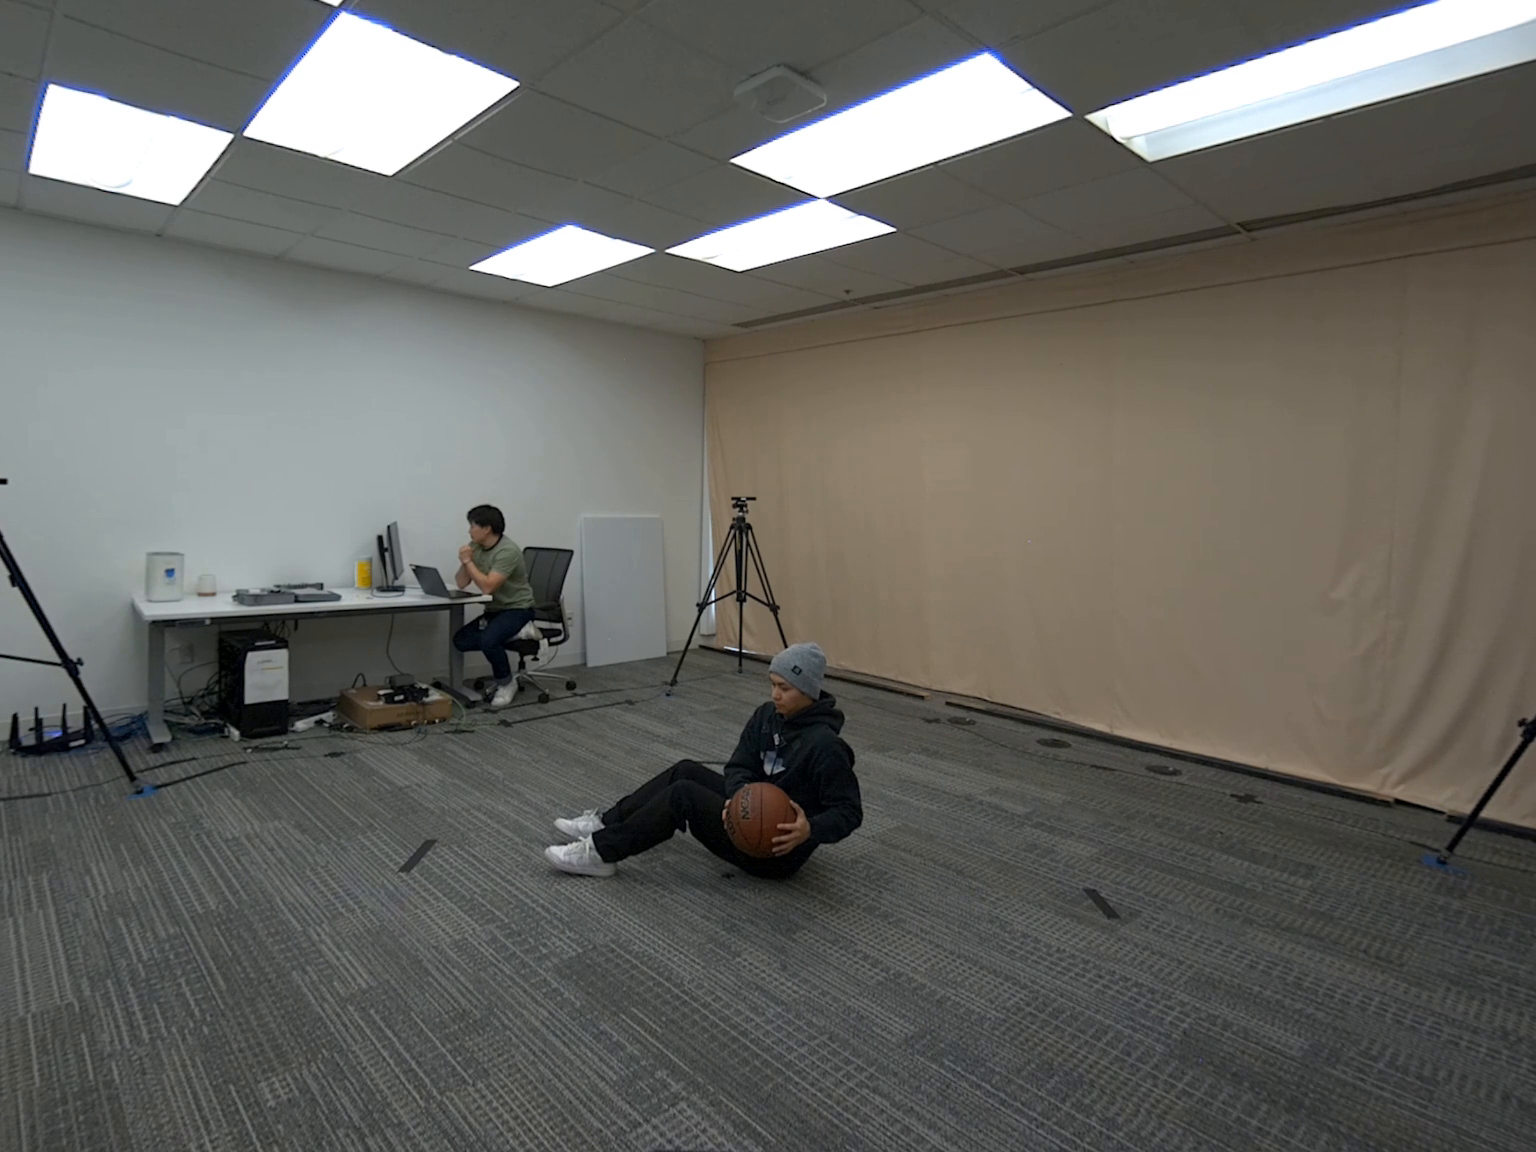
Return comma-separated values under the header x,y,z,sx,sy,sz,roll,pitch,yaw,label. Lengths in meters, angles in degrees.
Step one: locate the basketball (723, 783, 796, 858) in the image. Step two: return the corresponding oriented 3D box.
x,y,z,sx,sy,sz,roll,pitch,yaw,label
-0.042,0.816,2.815,0.236,0.235,0.237,1,4,-1,basketball
